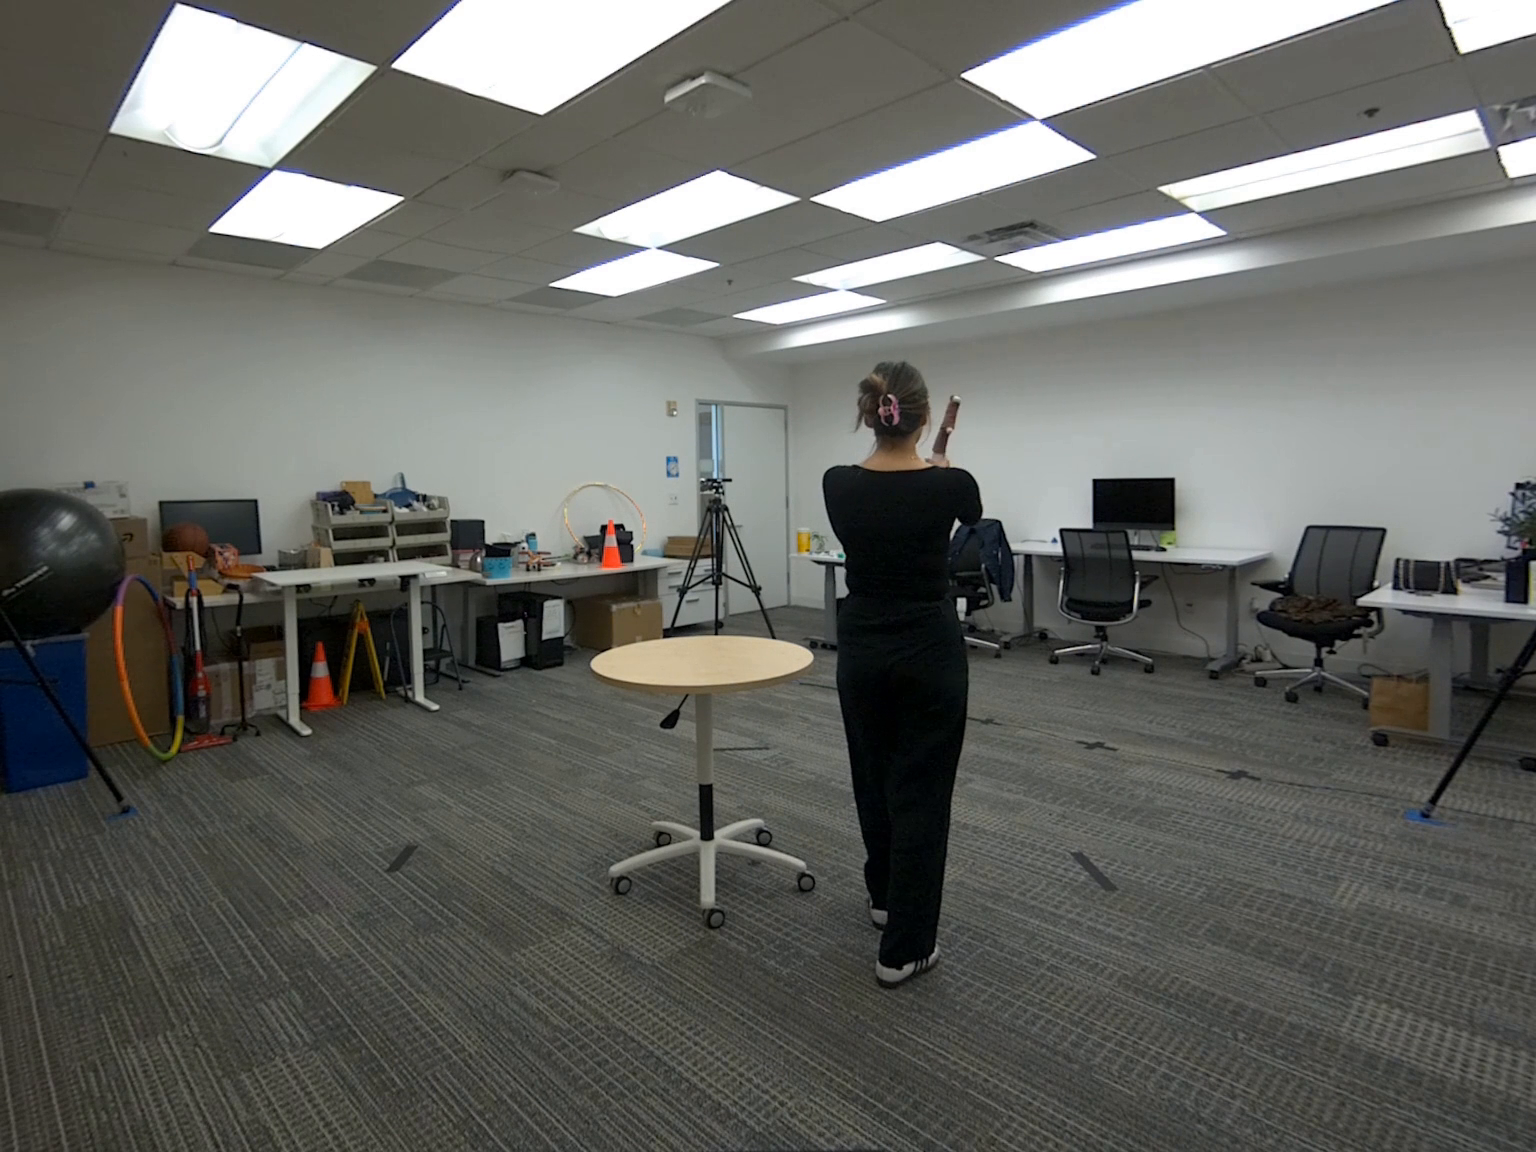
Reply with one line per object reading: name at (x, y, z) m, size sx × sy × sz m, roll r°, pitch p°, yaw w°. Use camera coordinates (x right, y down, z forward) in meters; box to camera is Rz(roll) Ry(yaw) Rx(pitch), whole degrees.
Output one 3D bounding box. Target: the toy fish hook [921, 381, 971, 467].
toy fish hook at (0.577, -0.388, 2.919) m, size 0.048 × 0.498 × 0.230 m, roll 4°, pitch 22°, yaw -8°
